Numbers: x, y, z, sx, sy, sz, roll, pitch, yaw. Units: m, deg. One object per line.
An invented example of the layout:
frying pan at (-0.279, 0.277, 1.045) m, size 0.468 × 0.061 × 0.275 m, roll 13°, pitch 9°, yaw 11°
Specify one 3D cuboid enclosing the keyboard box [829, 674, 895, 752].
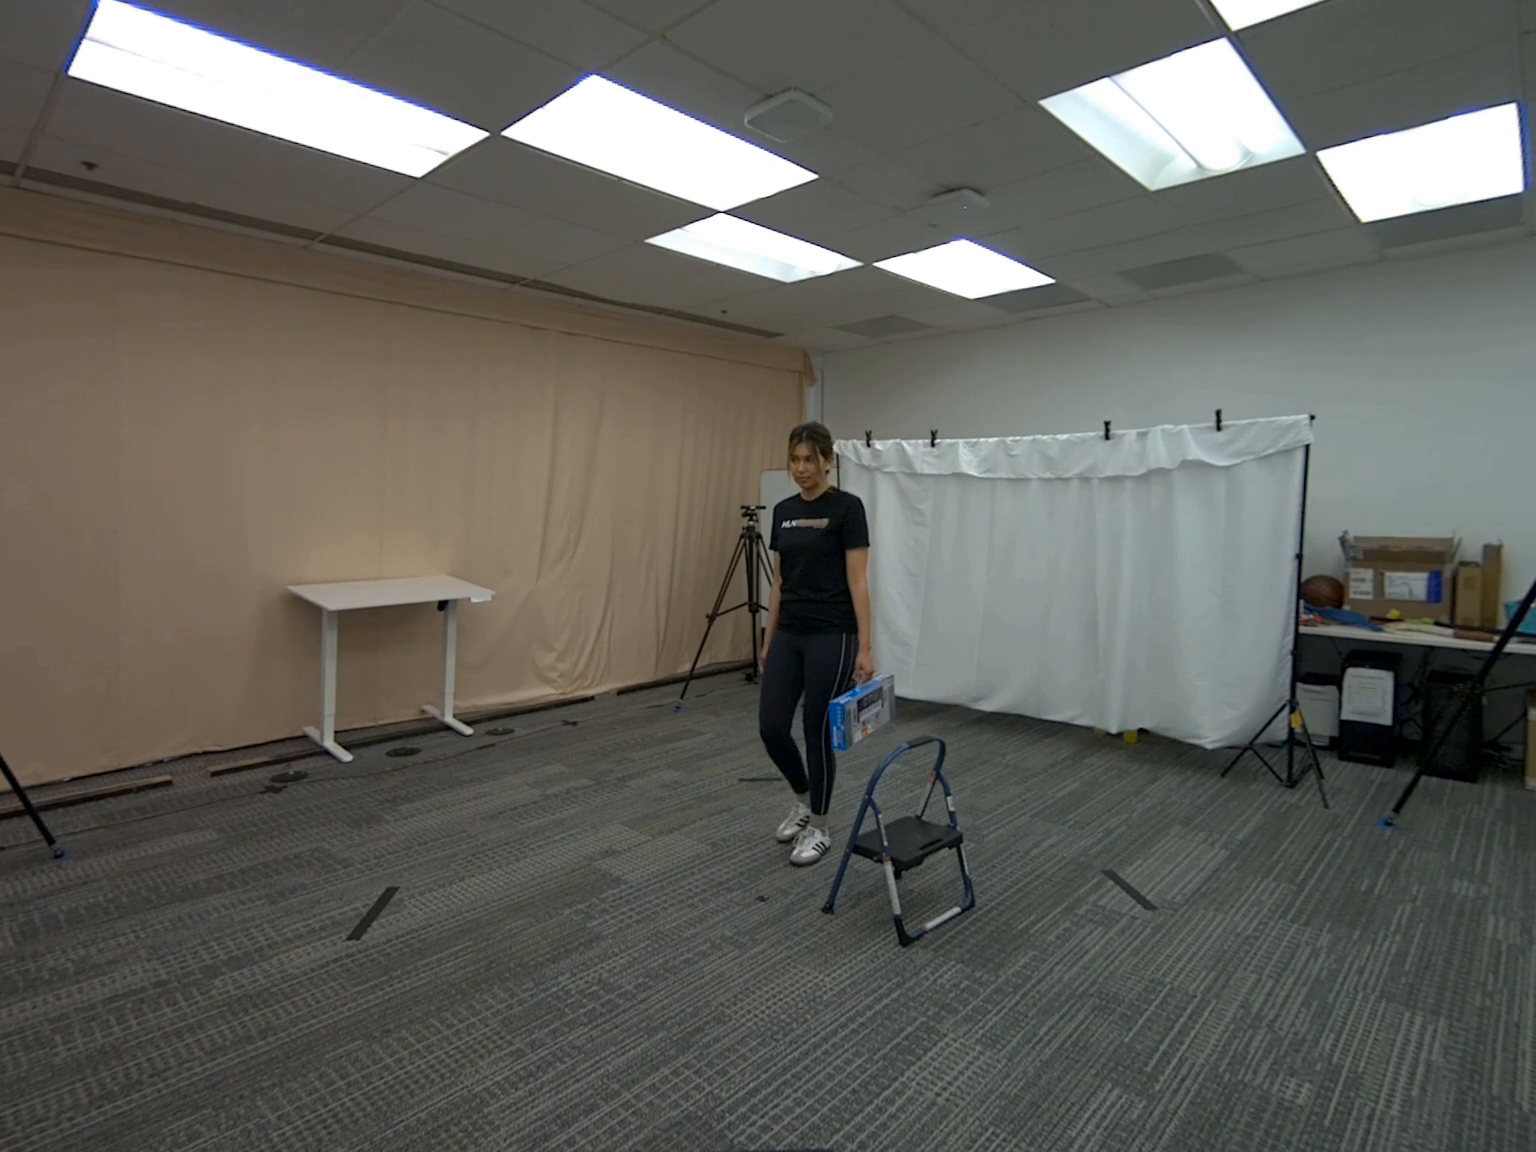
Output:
keyboard box at (0.366, 0.504, 3.159) m, size 0.061 × 0.175 × 0.426 m, roll 0°, pitch 8°, yaw 33°
